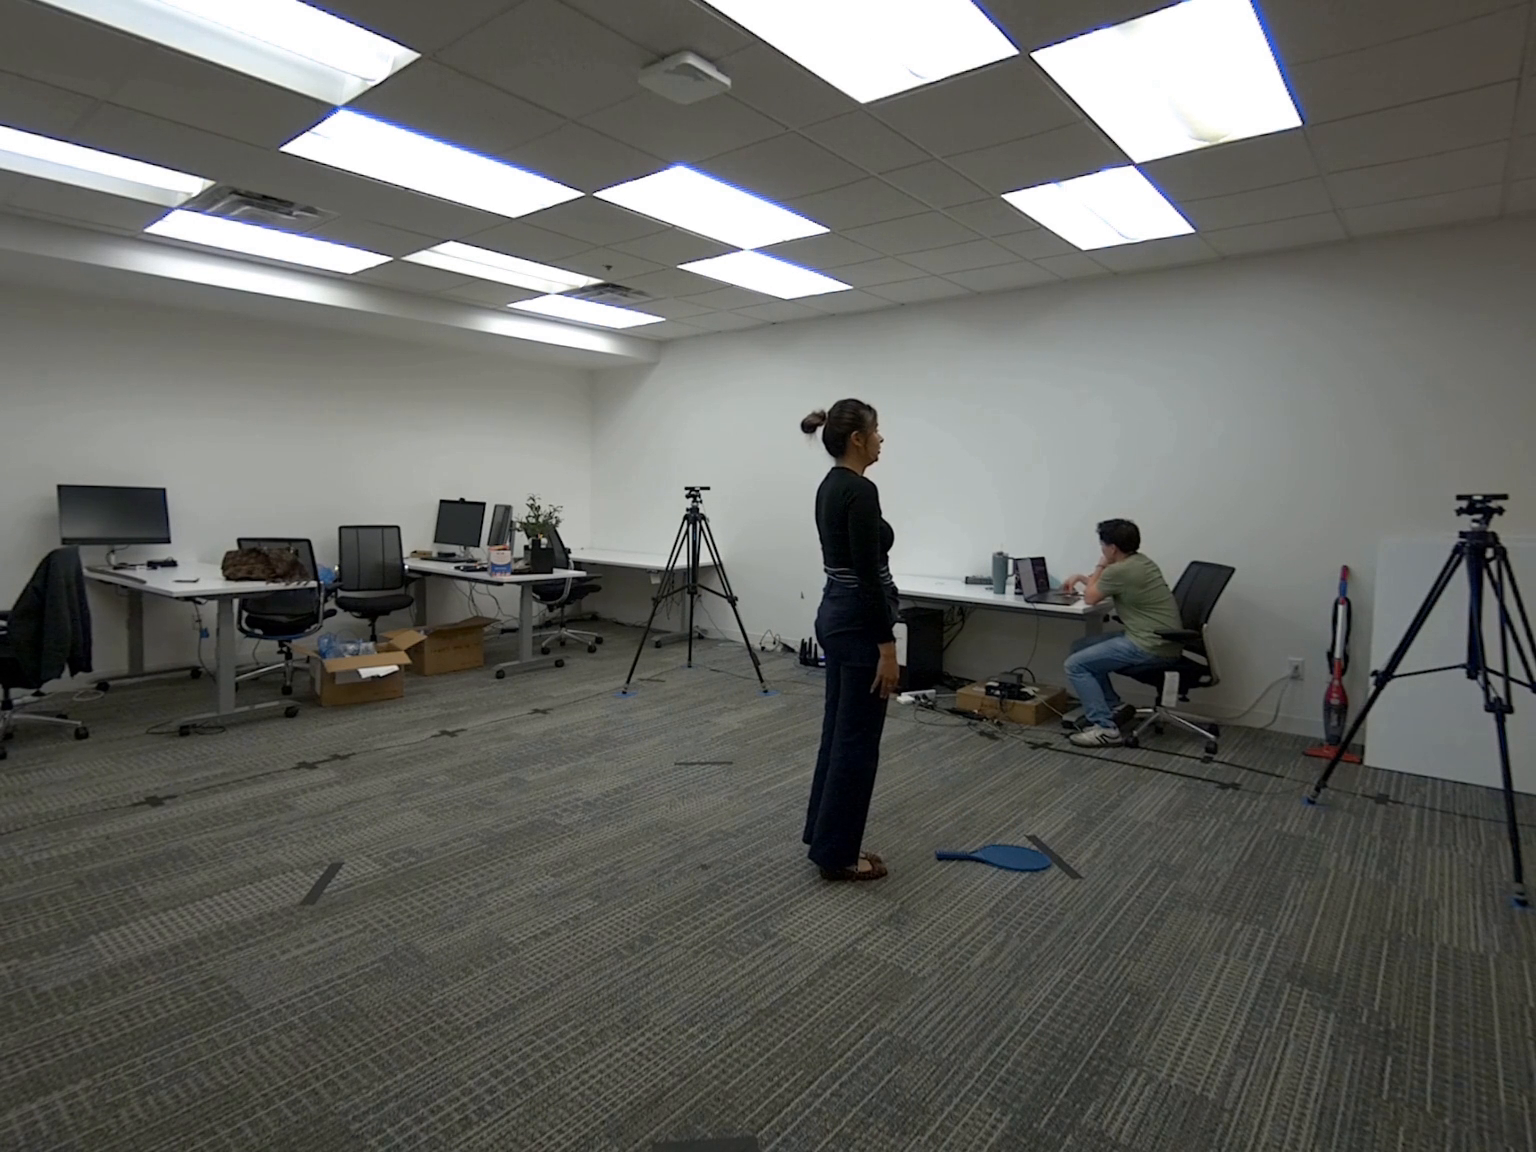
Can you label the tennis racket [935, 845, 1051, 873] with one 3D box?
[{"bbox_3d":[0.850,1.069,3.229,0.431,0.031,0.215,2,6,-4],"label":"tennis racket"}]
